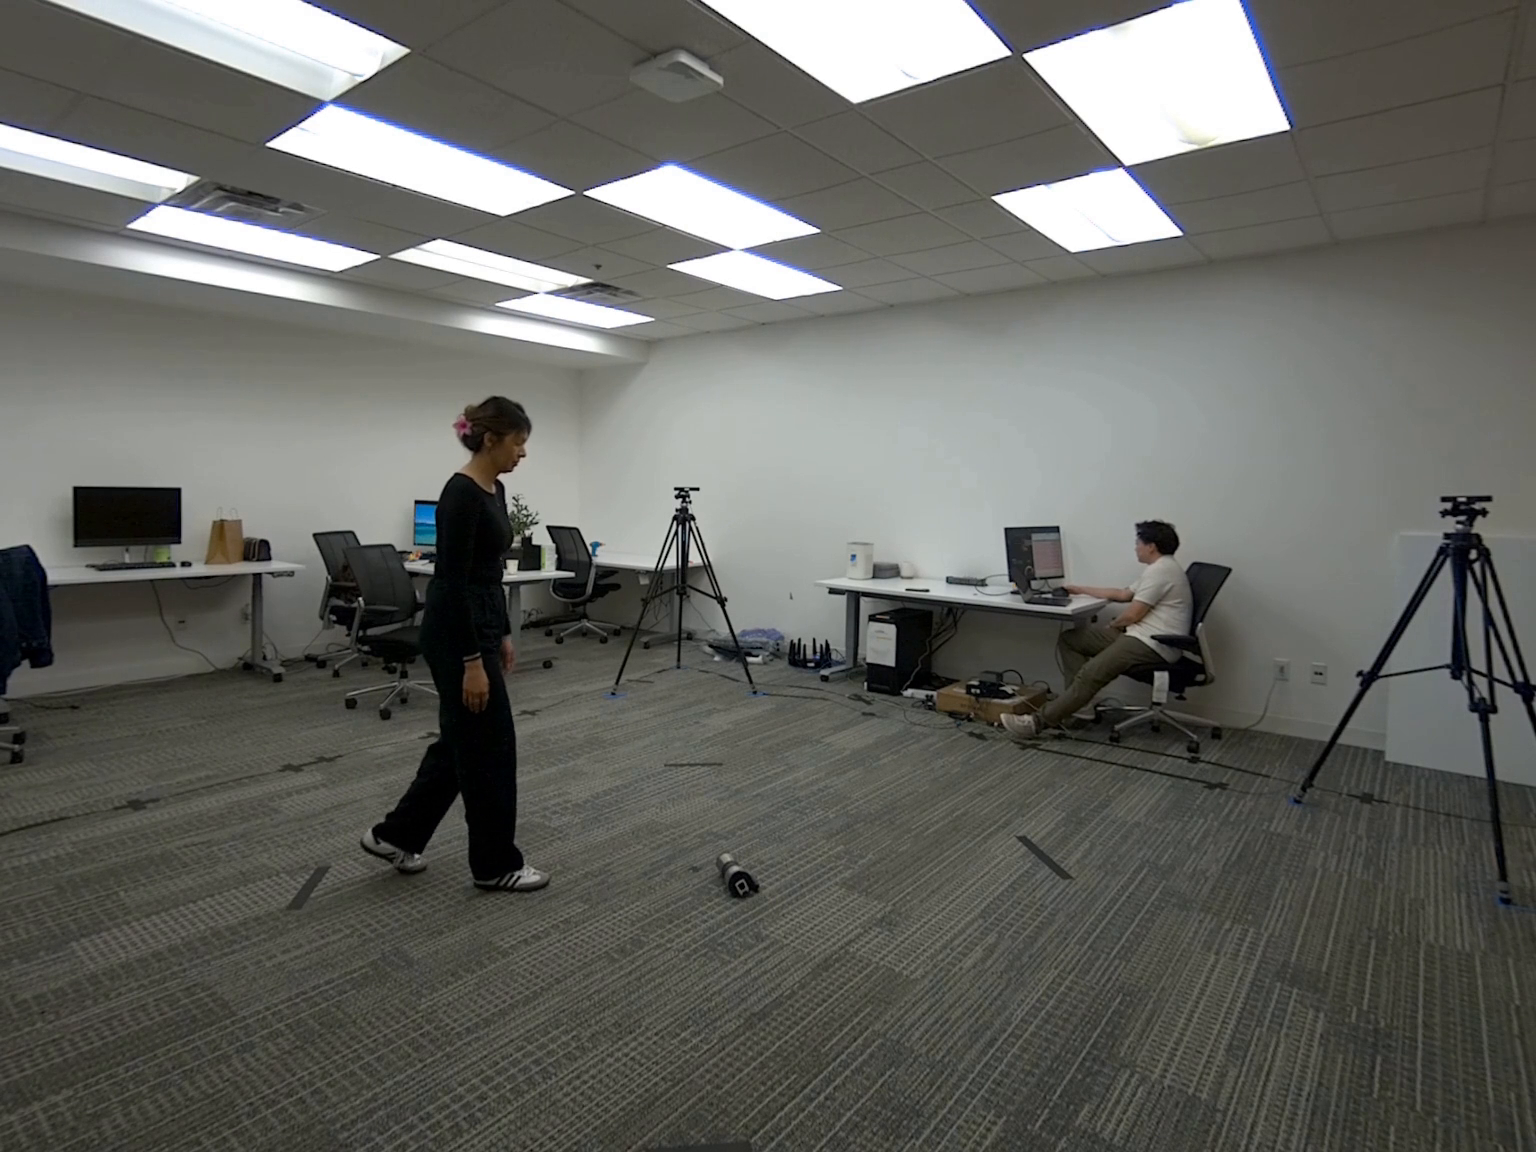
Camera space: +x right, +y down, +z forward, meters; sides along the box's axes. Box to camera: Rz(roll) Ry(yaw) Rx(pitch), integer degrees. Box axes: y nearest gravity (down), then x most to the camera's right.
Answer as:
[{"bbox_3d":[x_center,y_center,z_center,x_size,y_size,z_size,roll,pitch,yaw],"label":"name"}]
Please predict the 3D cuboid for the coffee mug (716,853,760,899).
[{"bbox_3d":[-0.117,1.055,2.980,0.088,0.120,0.206,-42,12,-14],"label":"coffee mug"}]
